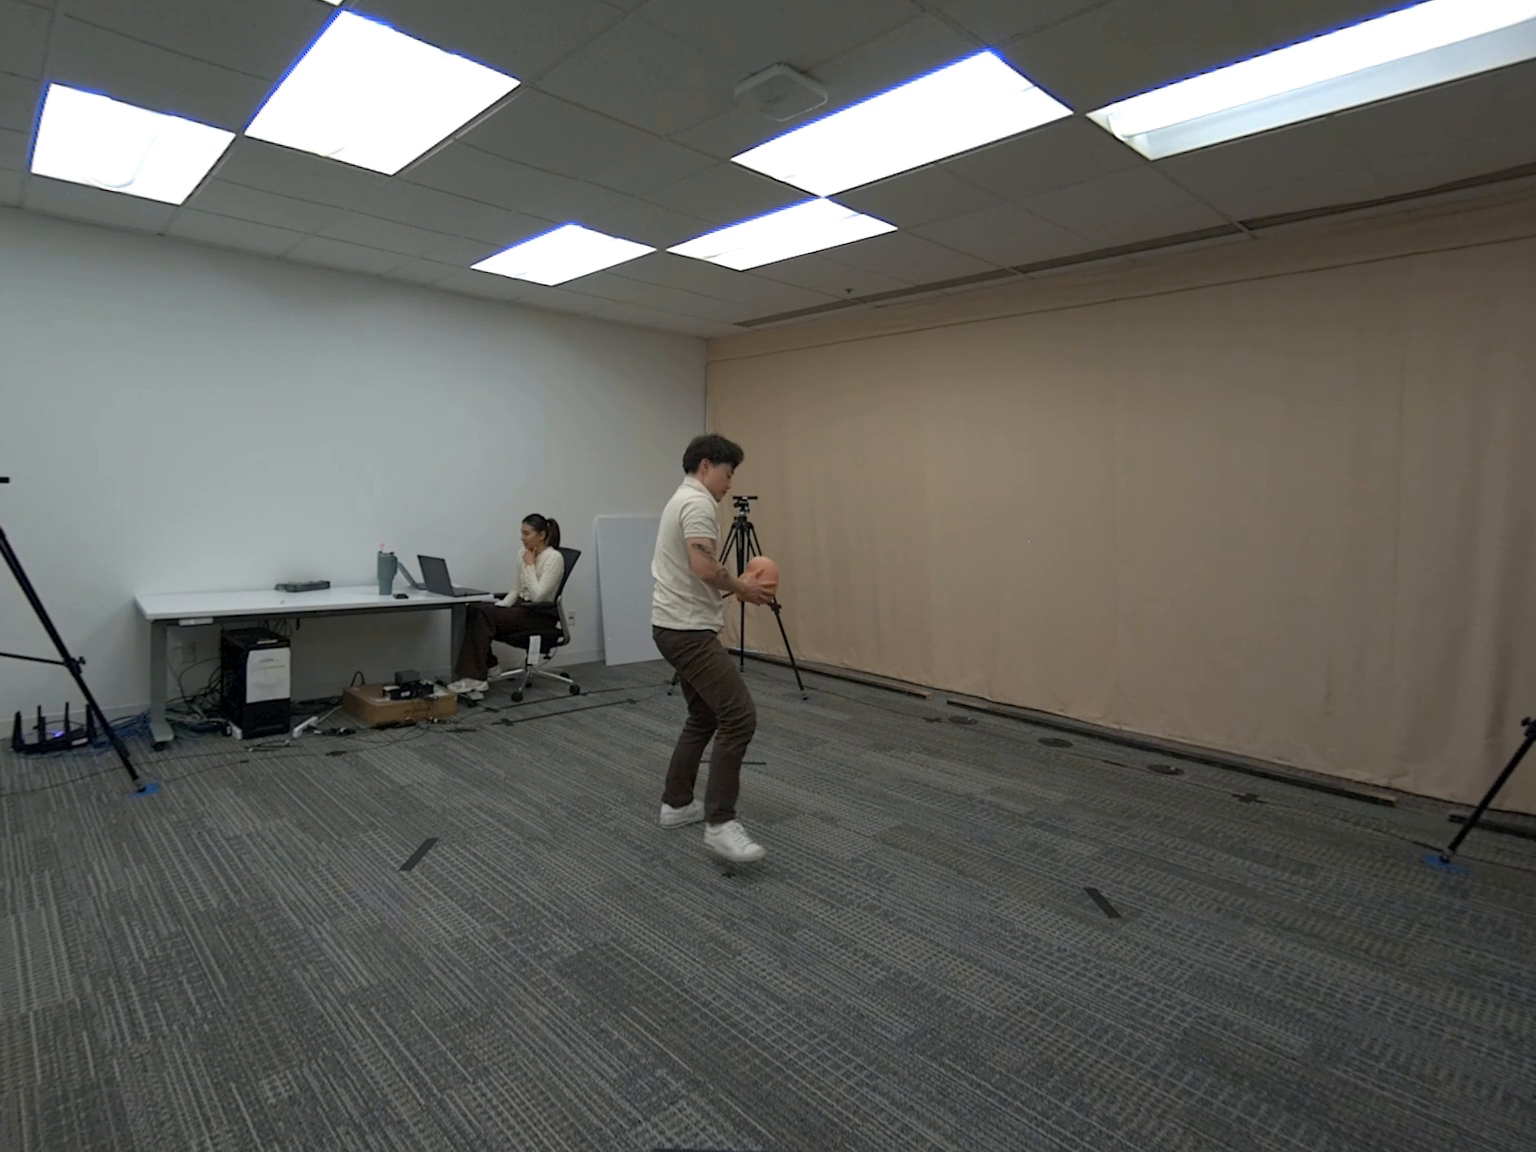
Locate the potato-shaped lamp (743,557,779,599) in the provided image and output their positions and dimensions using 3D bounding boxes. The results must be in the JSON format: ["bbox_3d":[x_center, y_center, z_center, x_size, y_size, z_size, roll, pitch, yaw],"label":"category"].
[{"bbox_3d":[-0.058,0.020,3.511,0.170,0.197,0.166,8,5,-8],"label":"potato-shaped lamp"}]
